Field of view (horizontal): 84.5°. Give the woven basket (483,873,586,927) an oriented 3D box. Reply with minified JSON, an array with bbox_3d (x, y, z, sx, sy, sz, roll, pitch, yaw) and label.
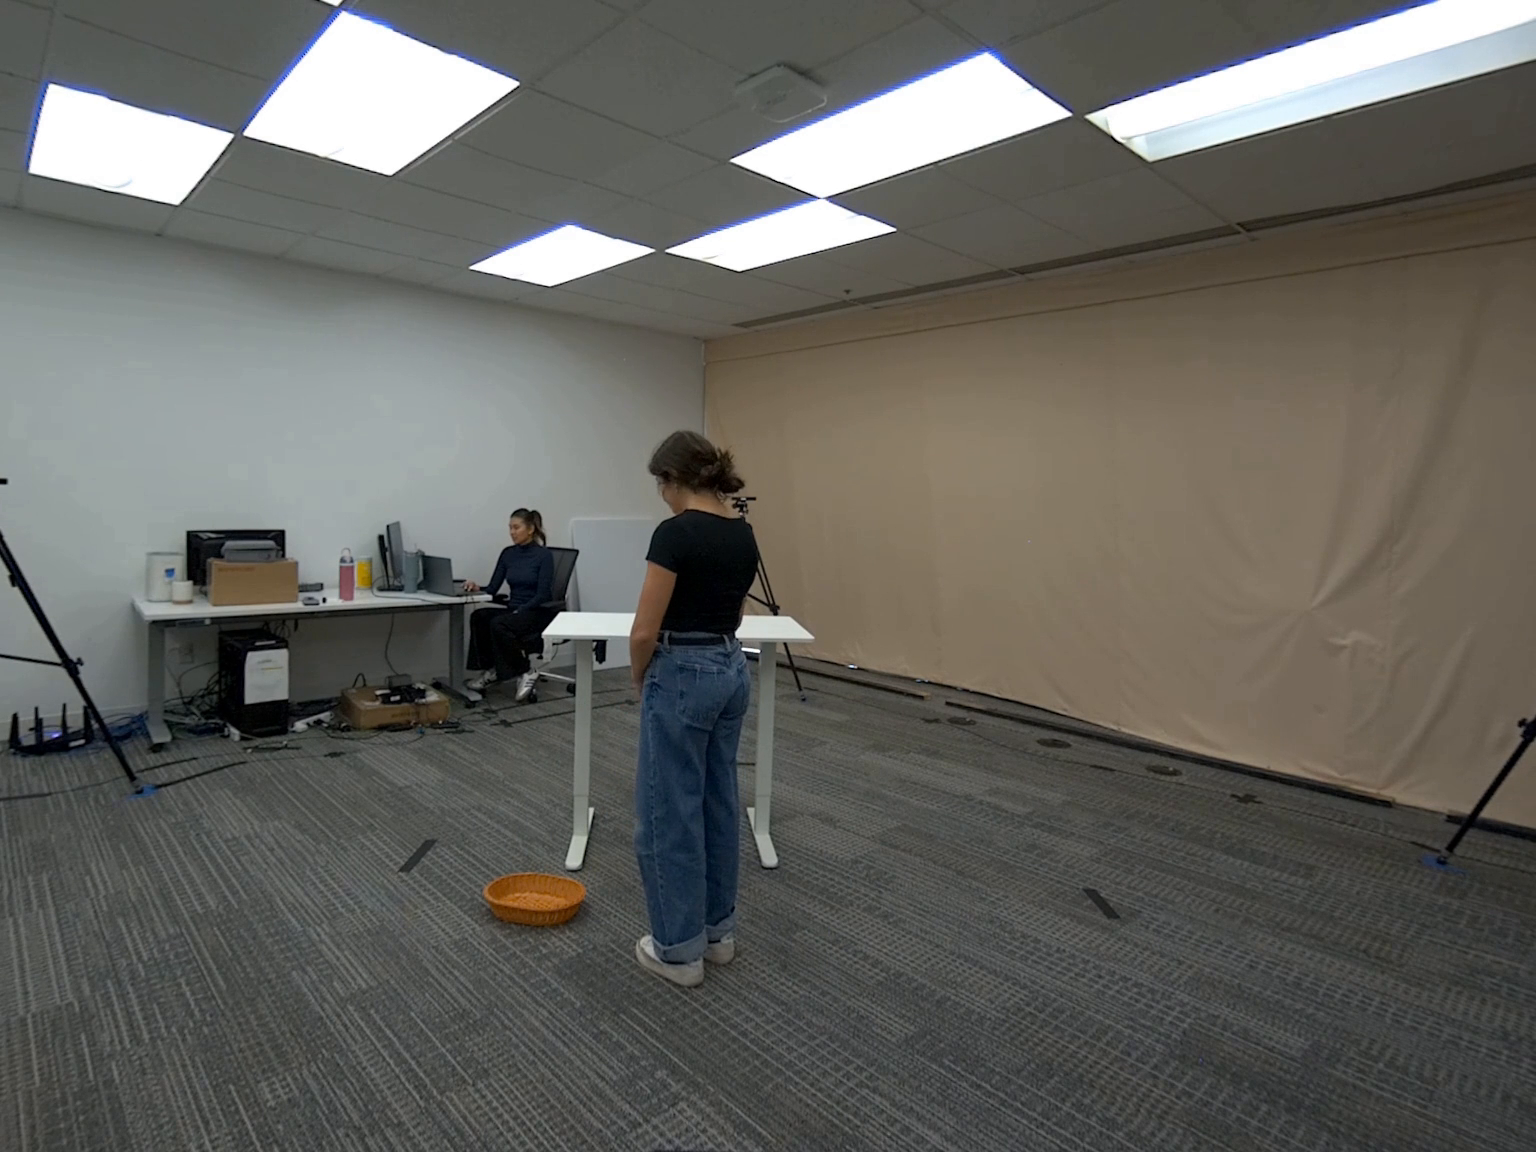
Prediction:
[{"bbox_3d":[-0.781,1.083,2.805,0.355,0.073,0.249,3,4,17],"label":"woven basket"}]
